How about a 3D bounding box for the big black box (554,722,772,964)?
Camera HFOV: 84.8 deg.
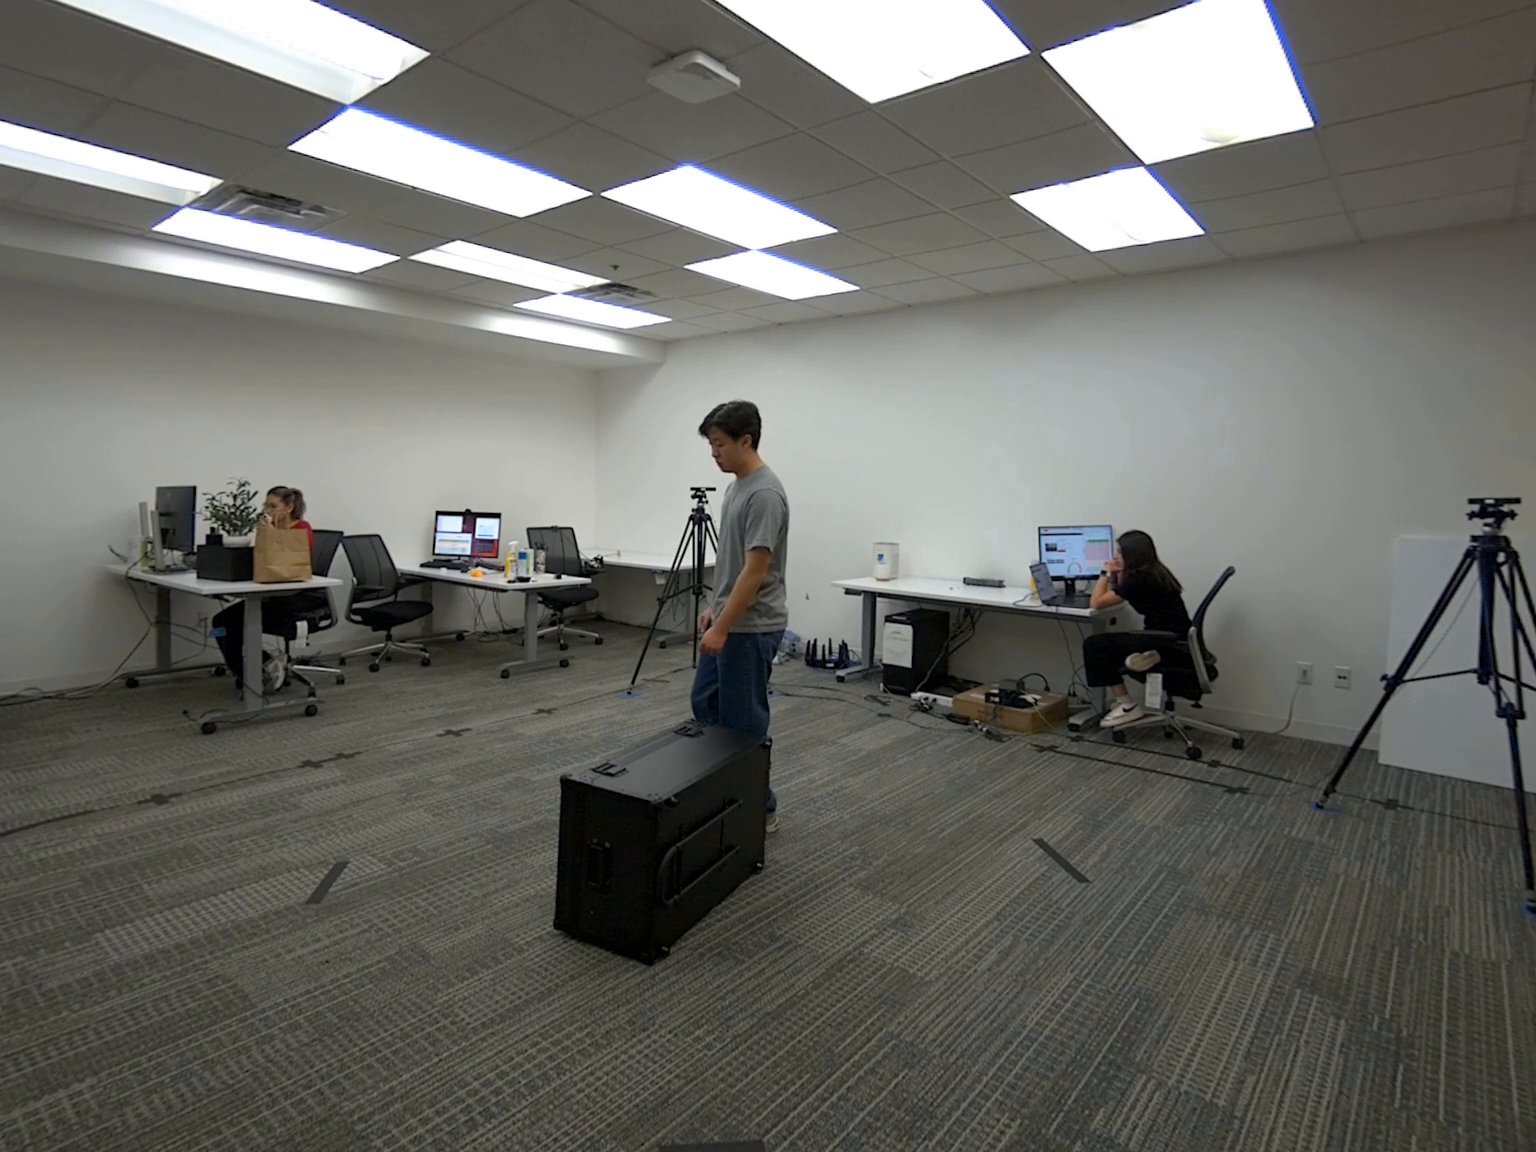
[{"bbox_3d":[-0.311,0.831,2.882,0.407,0.519,0.842,5,6,25],"label":"big black box"}]
